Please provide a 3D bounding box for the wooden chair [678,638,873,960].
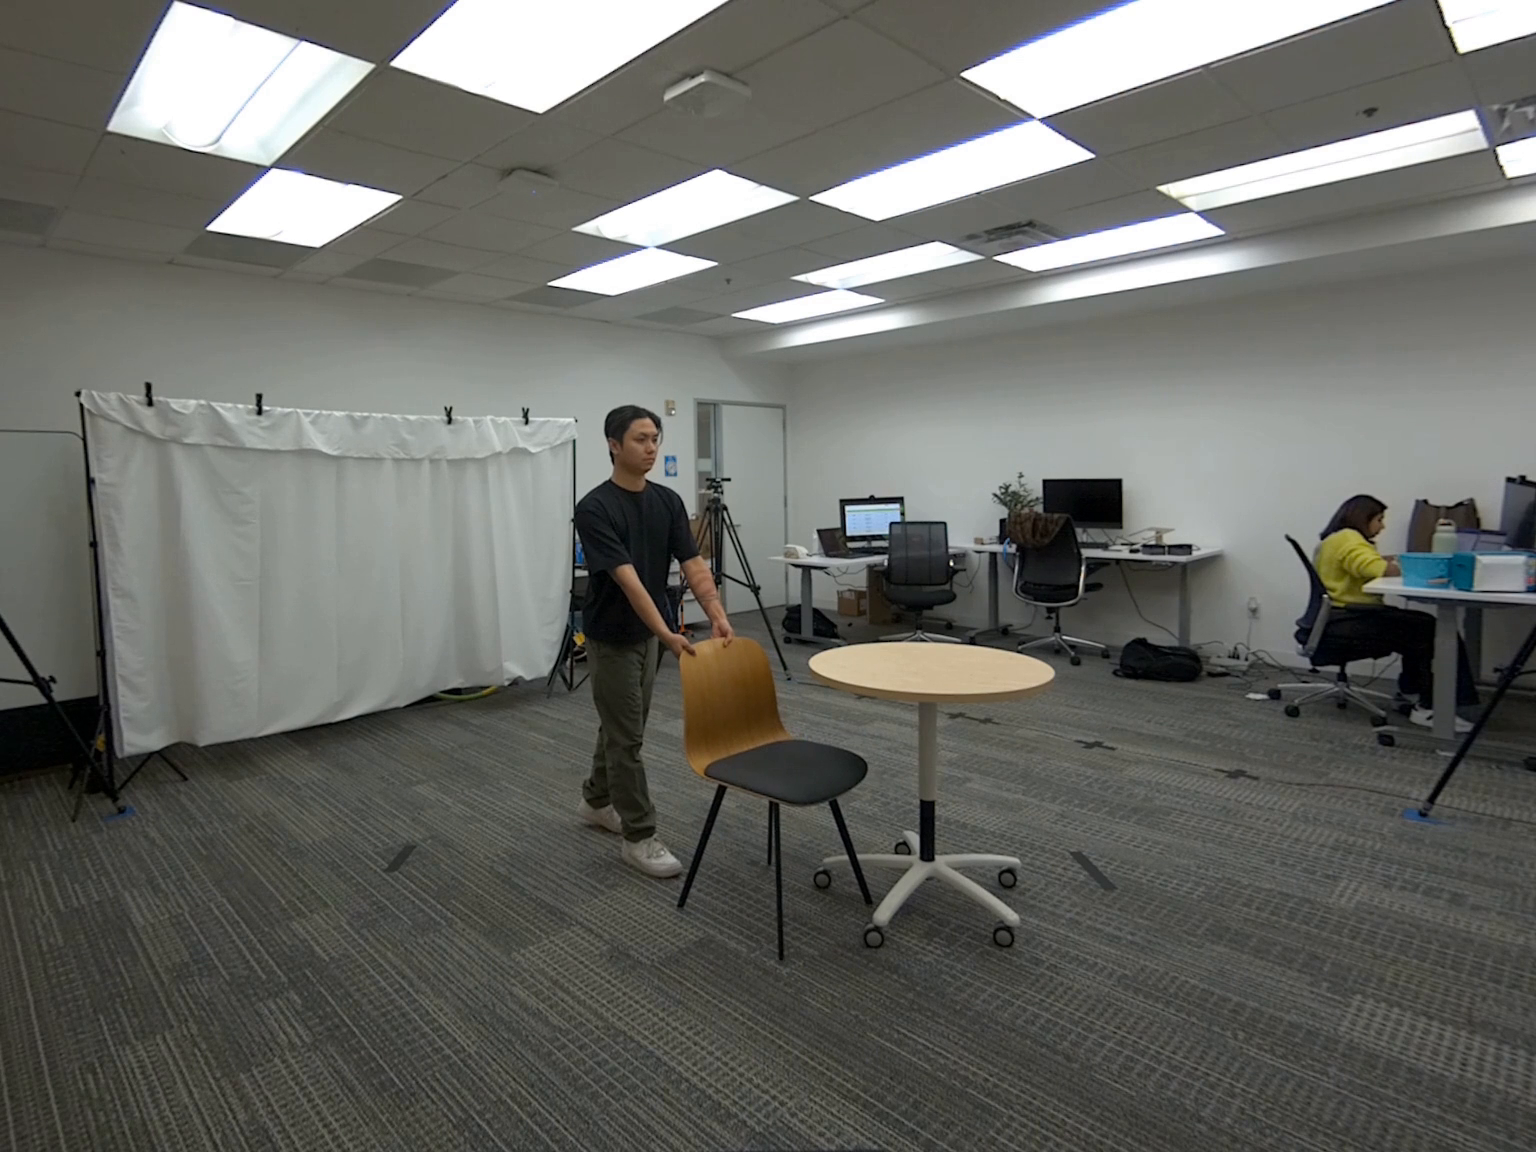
[{"bbox_3d":[0.023,0.653,2.747,0.537,0.877,0.465,-4,1,44],"label":"wooden chair"}]
